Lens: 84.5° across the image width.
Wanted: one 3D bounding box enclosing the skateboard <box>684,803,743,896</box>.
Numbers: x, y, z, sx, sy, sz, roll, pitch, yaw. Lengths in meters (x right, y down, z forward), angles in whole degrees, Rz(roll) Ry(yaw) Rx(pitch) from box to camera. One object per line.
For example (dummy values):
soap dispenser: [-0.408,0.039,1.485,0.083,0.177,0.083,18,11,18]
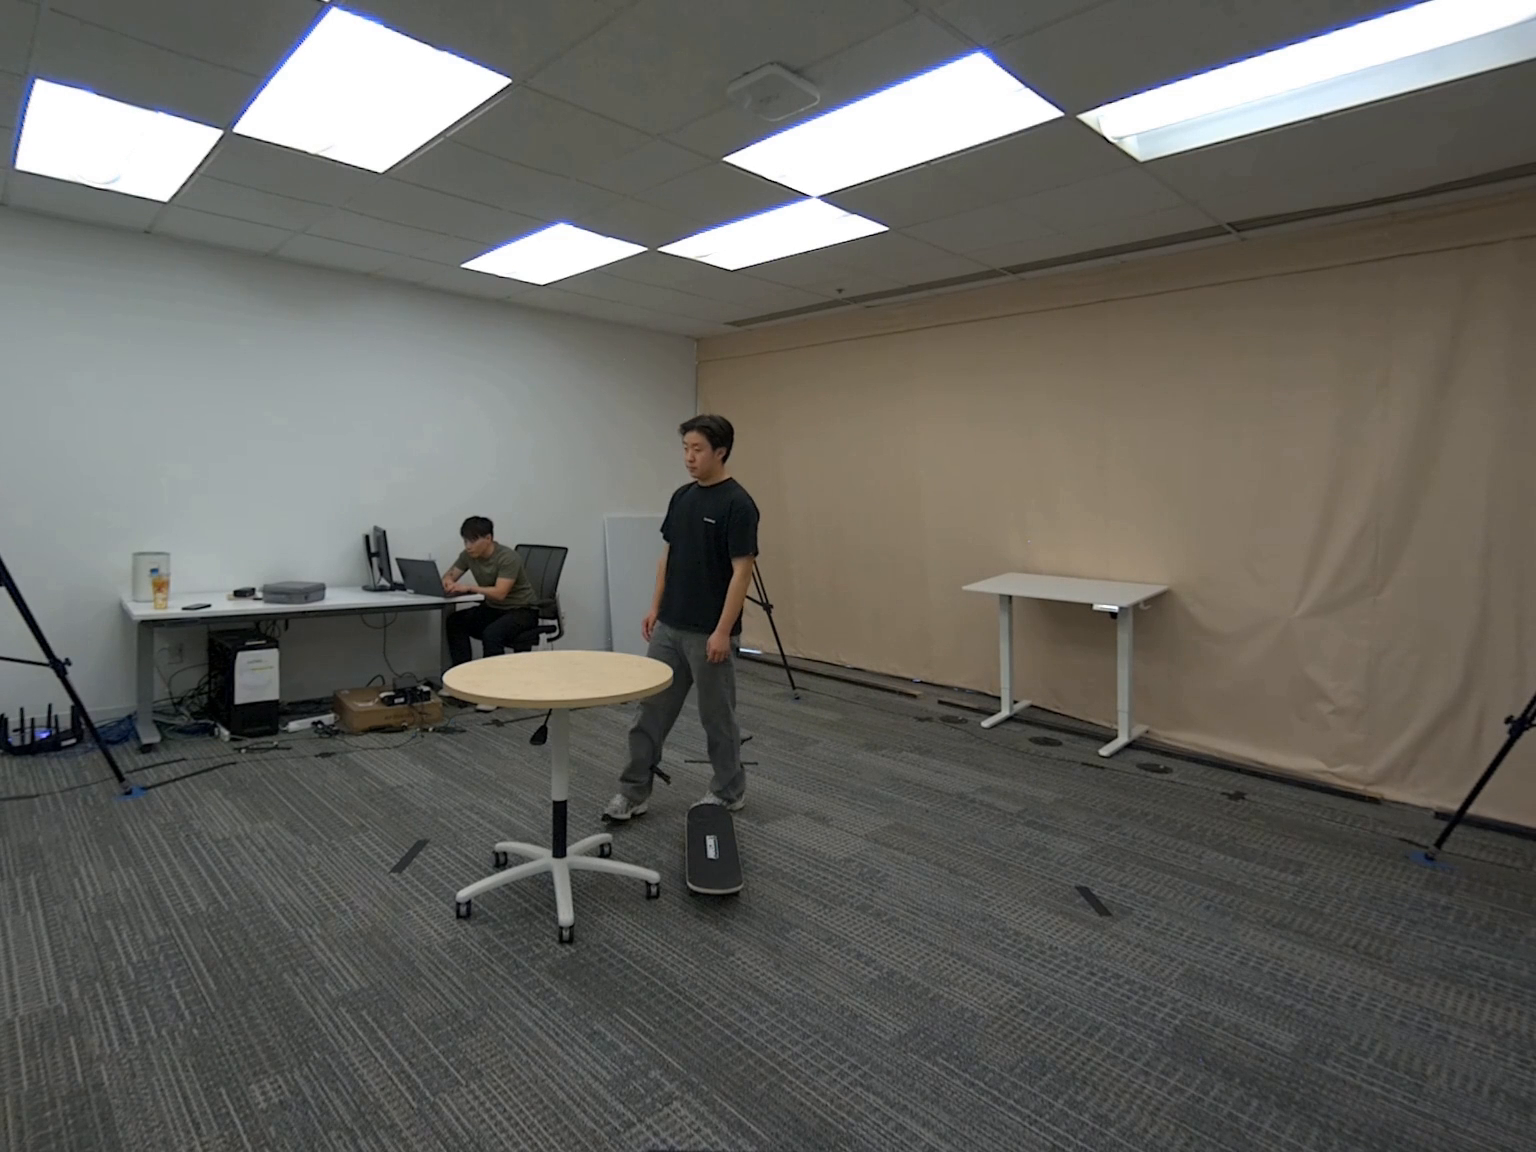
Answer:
skateboard: [-0.220,1.045,3.143,0.192,0.110,0.792,0,6,-7]
